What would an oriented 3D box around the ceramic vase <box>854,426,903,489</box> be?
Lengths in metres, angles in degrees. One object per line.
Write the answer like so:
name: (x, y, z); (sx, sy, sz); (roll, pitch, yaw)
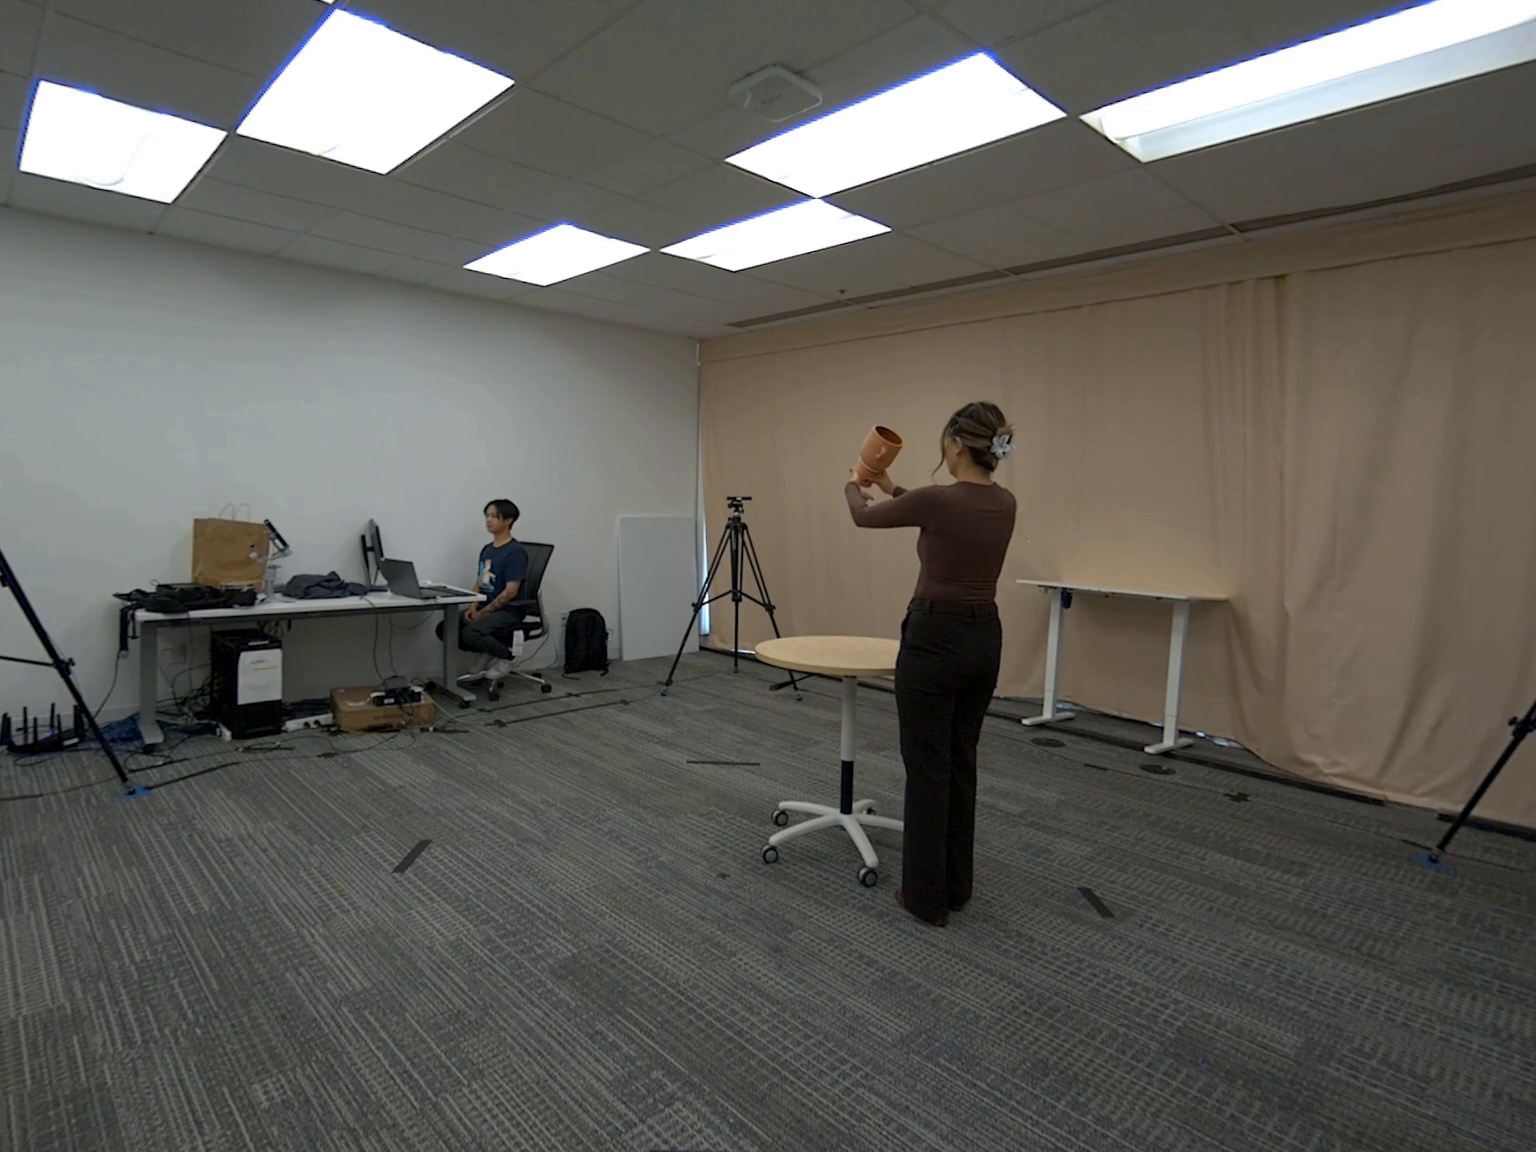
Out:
ceramic vase: (0.394, -0.454, 3.233); (0.156, 0.218, 0.138); (-11, 51, -46)
